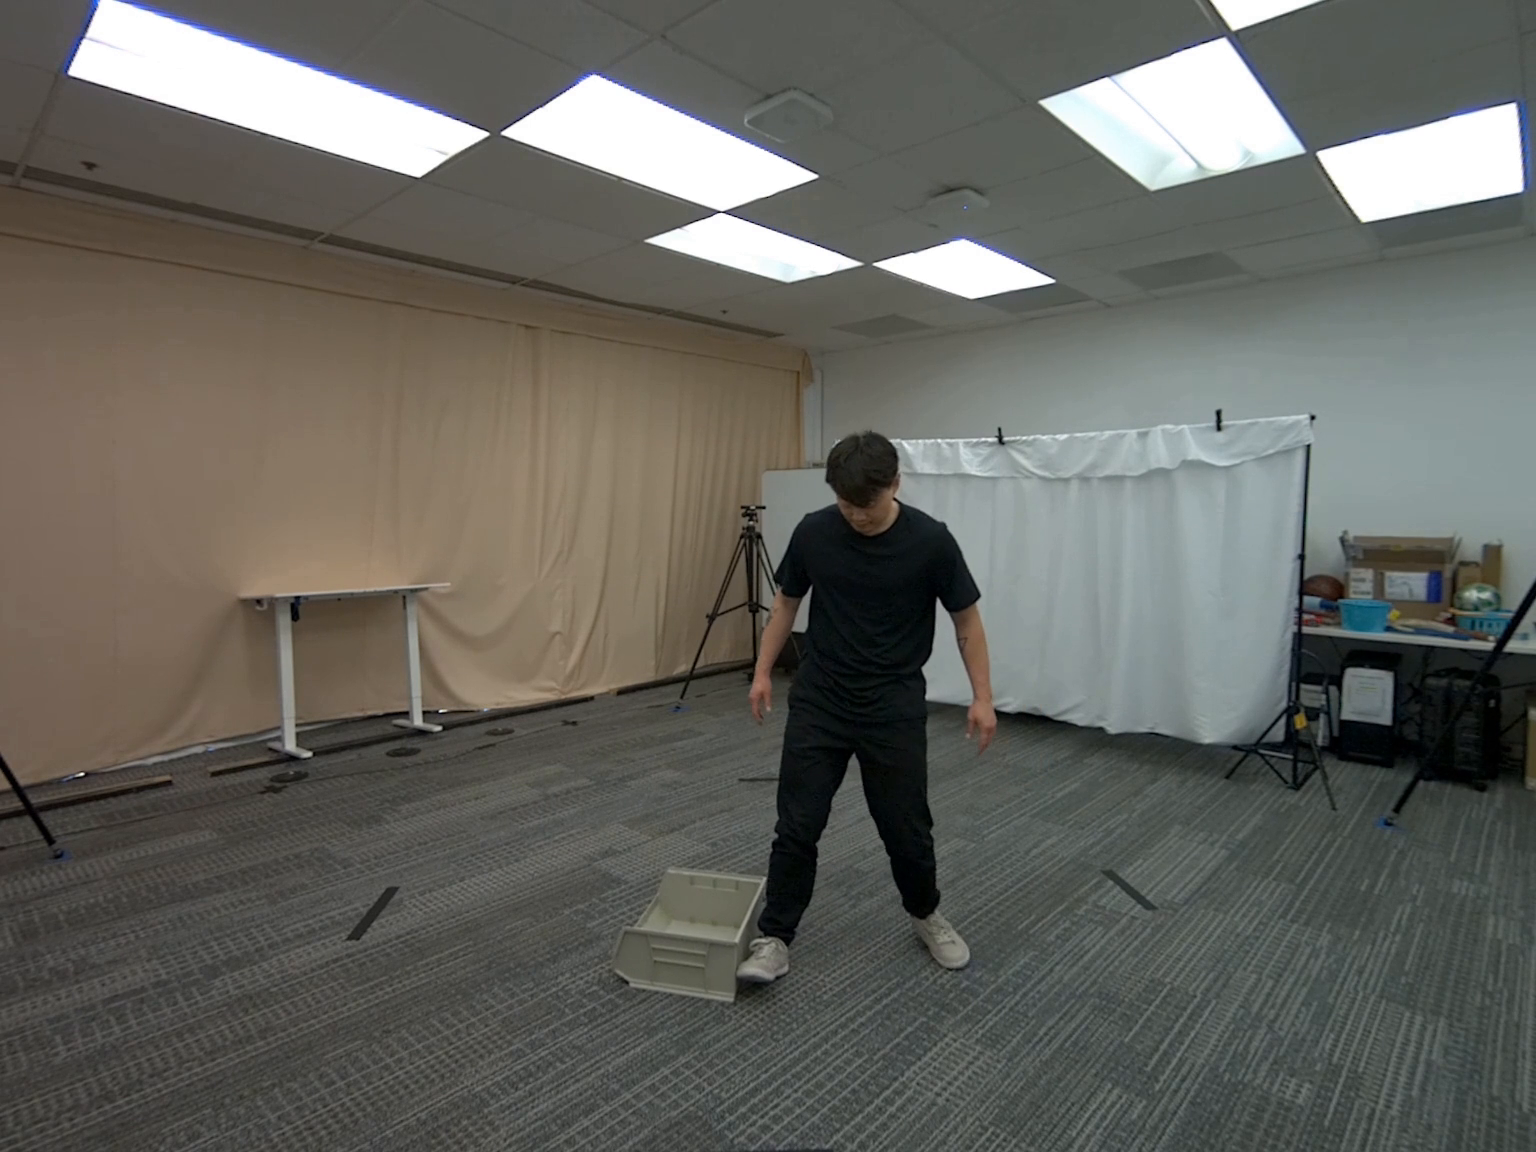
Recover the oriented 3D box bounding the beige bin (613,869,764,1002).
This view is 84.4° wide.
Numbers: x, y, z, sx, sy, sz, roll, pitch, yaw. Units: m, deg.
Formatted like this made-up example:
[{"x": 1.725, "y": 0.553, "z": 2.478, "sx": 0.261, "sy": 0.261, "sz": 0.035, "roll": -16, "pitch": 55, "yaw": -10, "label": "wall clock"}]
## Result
[{"x": -0.226, "y": 1.091, "z": 2.592, "sx": 0.383, "sy": 0.188, "sz": 0.417, "roll": 1, "pitch": 4, "yaw": 12, "label": "beige bin"}]
